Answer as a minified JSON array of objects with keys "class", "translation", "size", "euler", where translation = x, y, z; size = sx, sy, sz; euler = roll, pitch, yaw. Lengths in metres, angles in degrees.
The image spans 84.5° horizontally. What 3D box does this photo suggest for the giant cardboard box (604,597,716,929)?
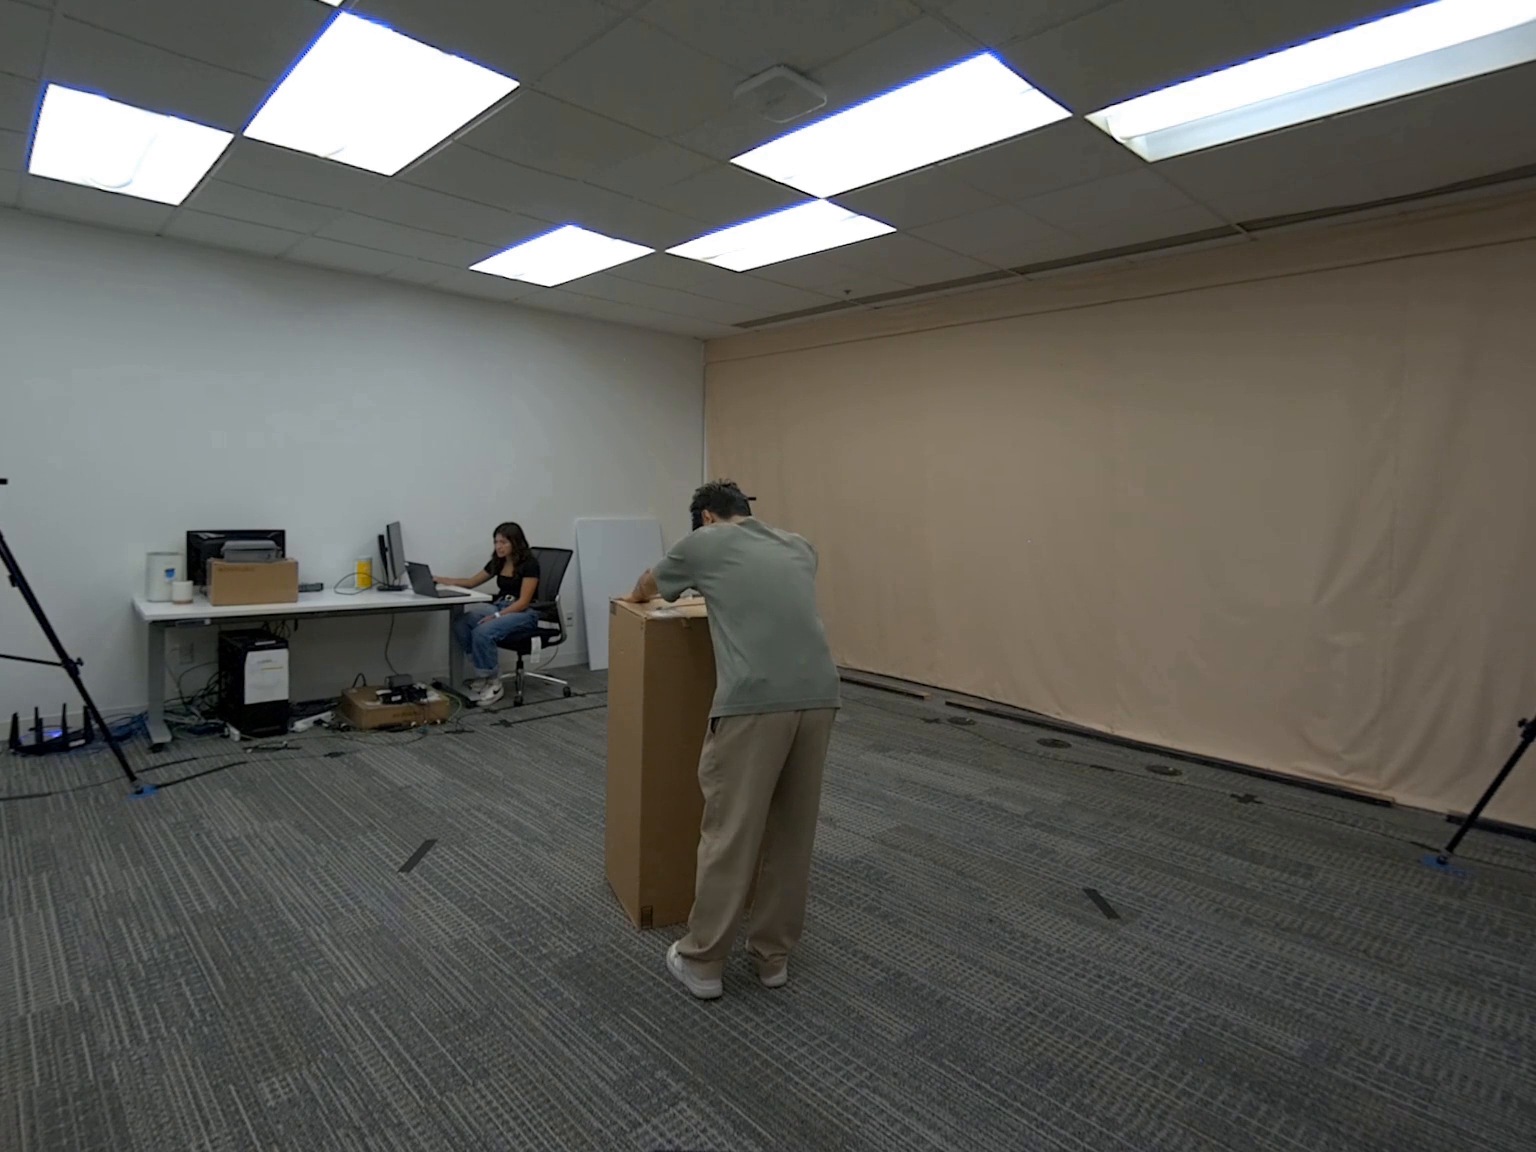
[{"class":"giant cardboard box","translation":[-0.234,0.603,2.955],"size":[0.567,1.022,0.435],"euler":[-1,5,-25]}]
